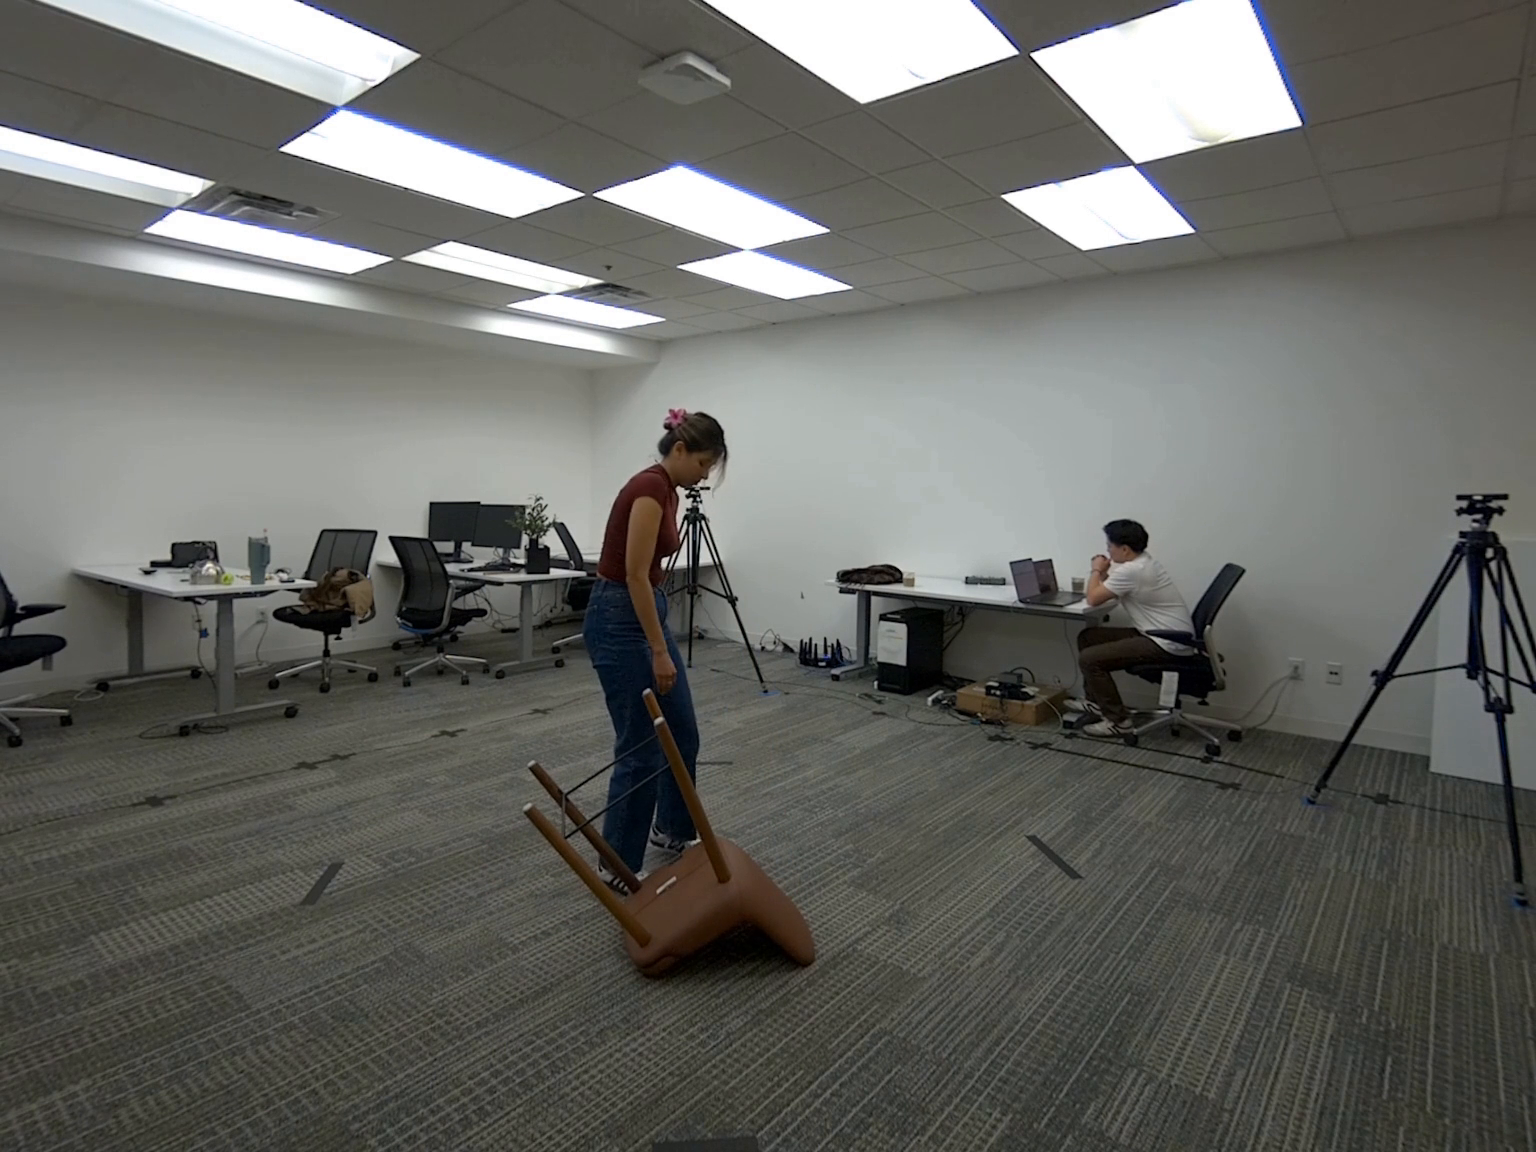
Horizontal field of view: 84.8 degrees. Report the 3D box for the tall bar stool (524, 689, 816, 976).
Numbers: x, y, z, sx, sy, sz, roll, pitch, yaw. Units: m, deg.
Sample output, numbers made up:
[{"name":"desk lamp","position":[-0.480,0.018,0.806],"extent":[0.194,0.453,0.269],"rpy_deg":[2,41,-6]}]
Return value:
[{"name":"tall bar stool","position":[-0.308,0.860,2.587],"extent":[0.466,0.878,0.464],"rpy_deg":[-34,10,-8]}]
